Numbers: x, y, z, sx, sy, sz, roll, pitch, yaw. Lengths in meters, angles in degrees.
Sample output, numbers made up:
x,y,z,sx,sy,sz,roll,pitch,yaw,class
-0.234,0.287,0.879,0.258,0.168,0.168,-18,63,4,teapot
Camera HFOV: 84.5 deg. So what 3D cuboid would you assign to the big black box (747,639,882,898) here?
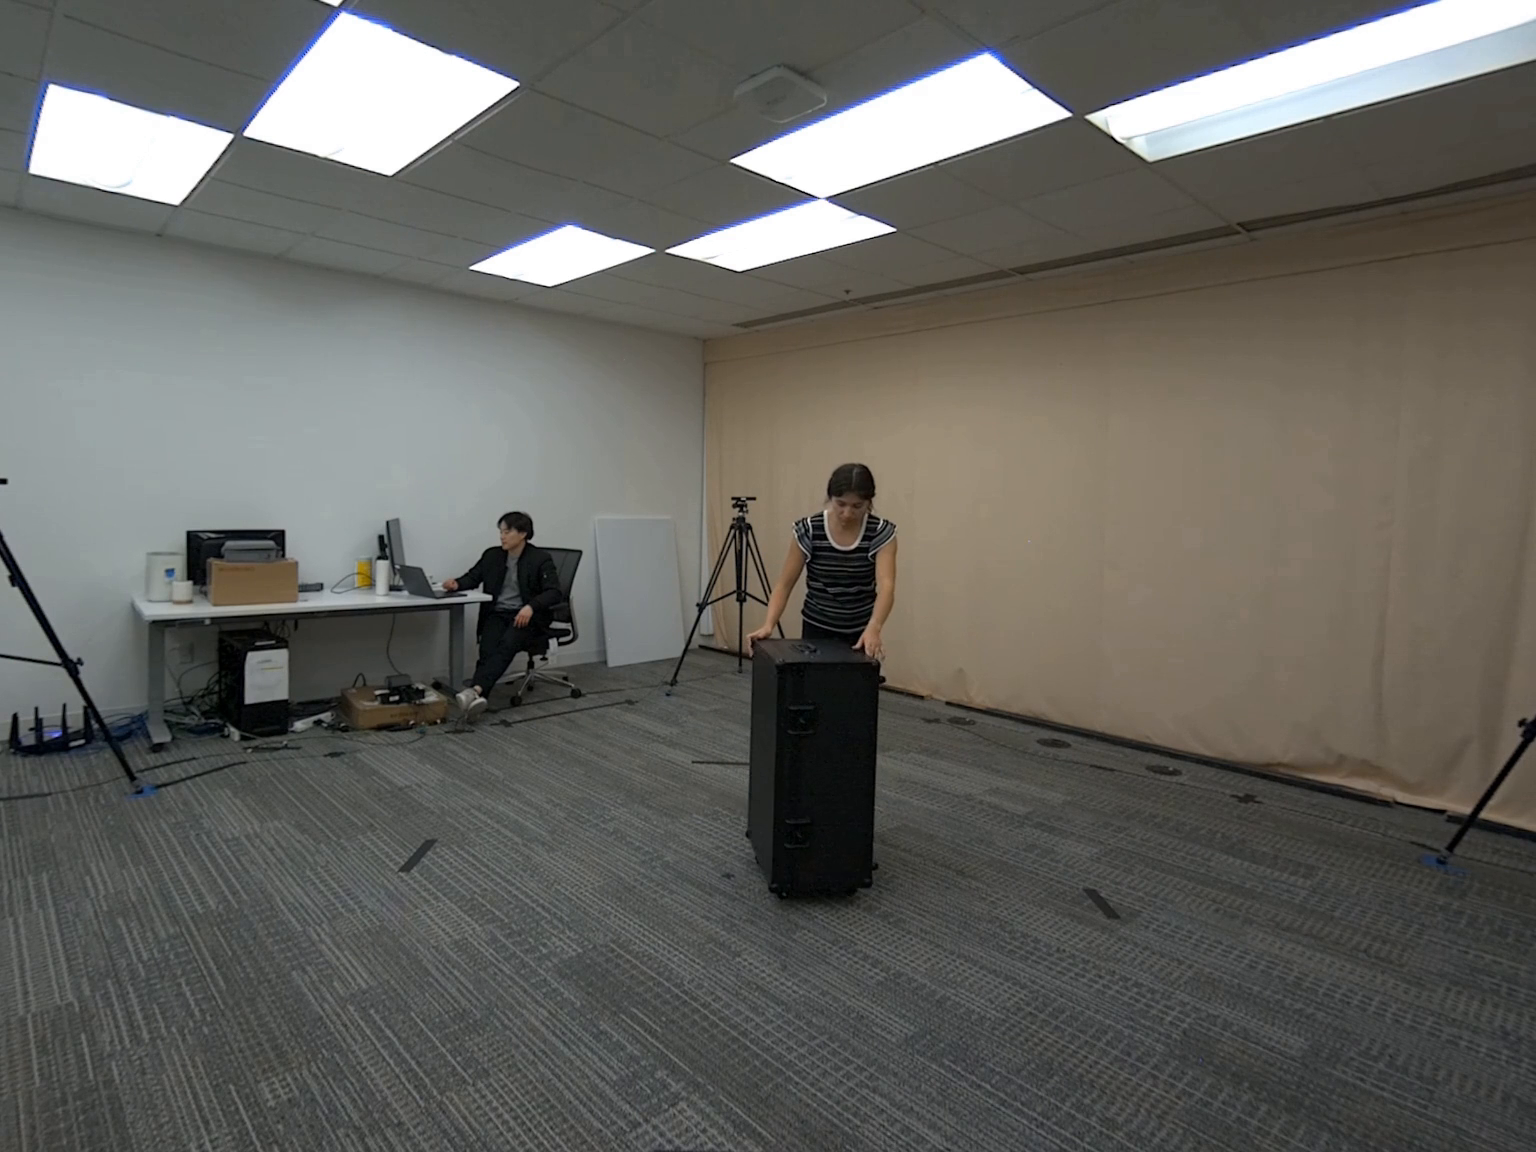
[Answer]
x,y,z,sx,sy,sz,roll,pitch,yaw,class
0.145,0.694,3.078,0.392,0.860,0.527,1,3,-13,big black box
